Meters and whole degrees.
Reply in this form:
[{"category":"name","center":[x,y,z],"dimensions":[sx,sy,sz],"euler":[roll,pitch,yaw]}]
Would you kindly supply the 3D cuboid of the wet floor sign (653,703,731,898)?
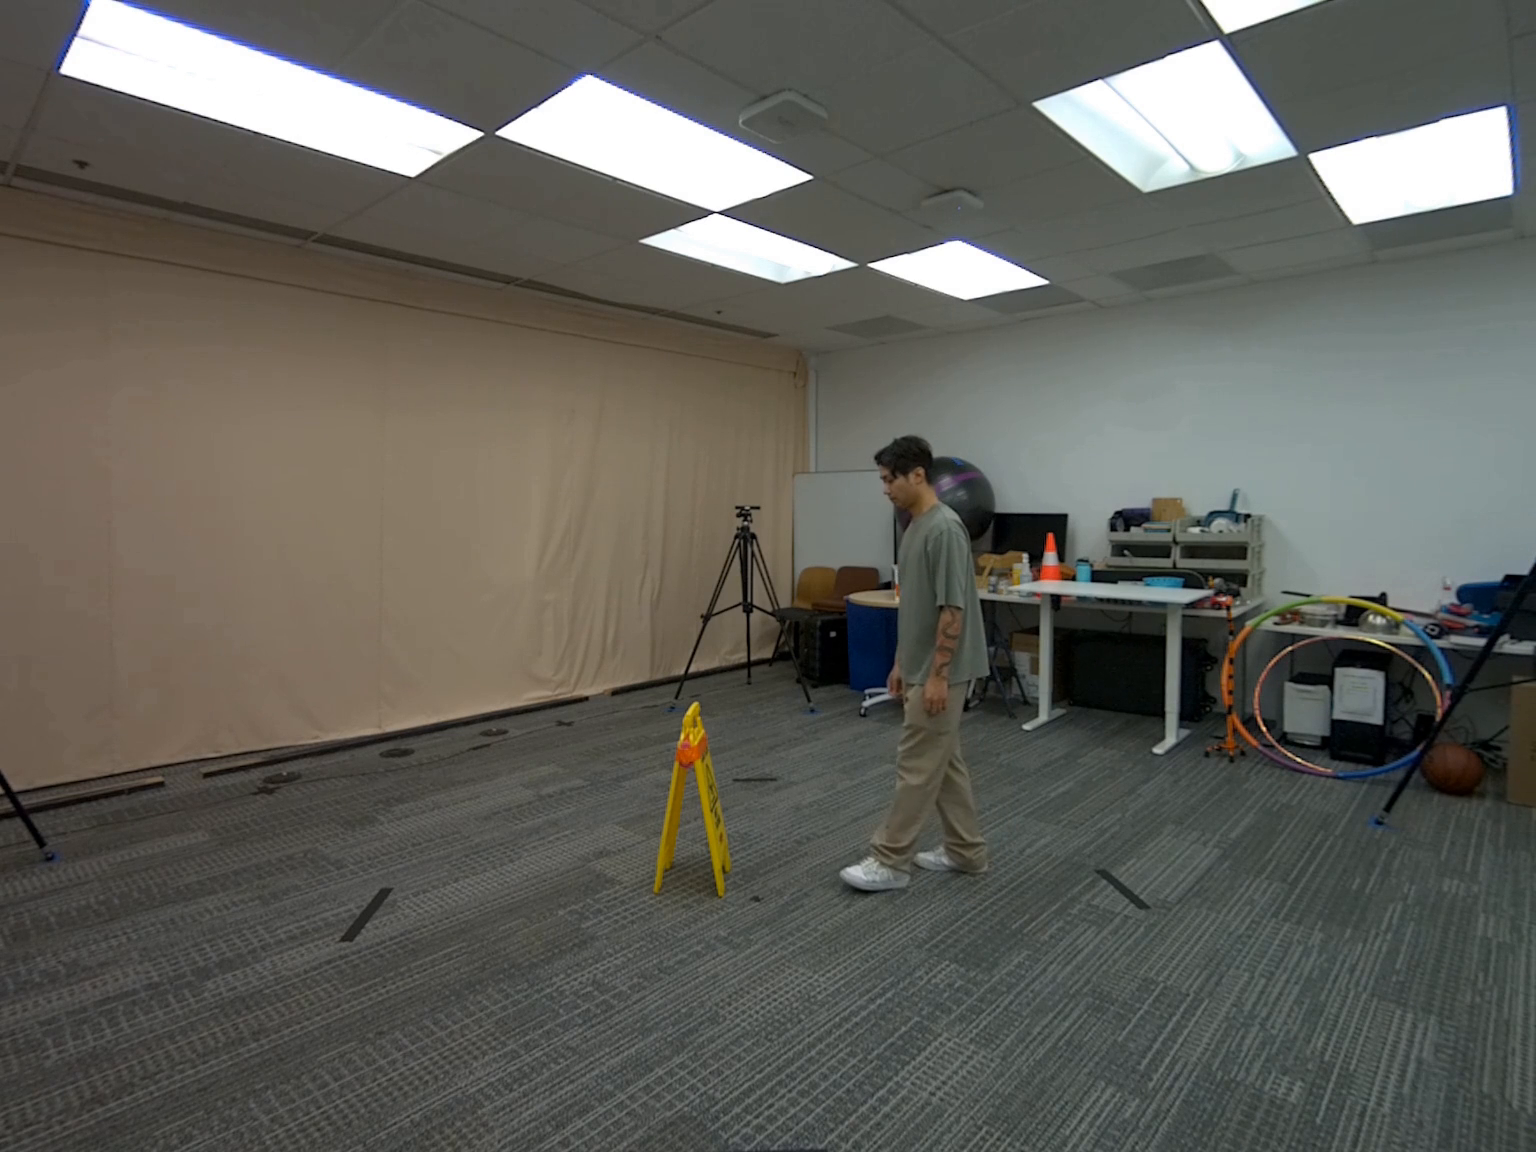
[{"category":"wet floor sign","center":[-0.279,0.815,3.121],"dimensions":[0.292,0.645,0.281],"euler":[-1,3,6]}]
